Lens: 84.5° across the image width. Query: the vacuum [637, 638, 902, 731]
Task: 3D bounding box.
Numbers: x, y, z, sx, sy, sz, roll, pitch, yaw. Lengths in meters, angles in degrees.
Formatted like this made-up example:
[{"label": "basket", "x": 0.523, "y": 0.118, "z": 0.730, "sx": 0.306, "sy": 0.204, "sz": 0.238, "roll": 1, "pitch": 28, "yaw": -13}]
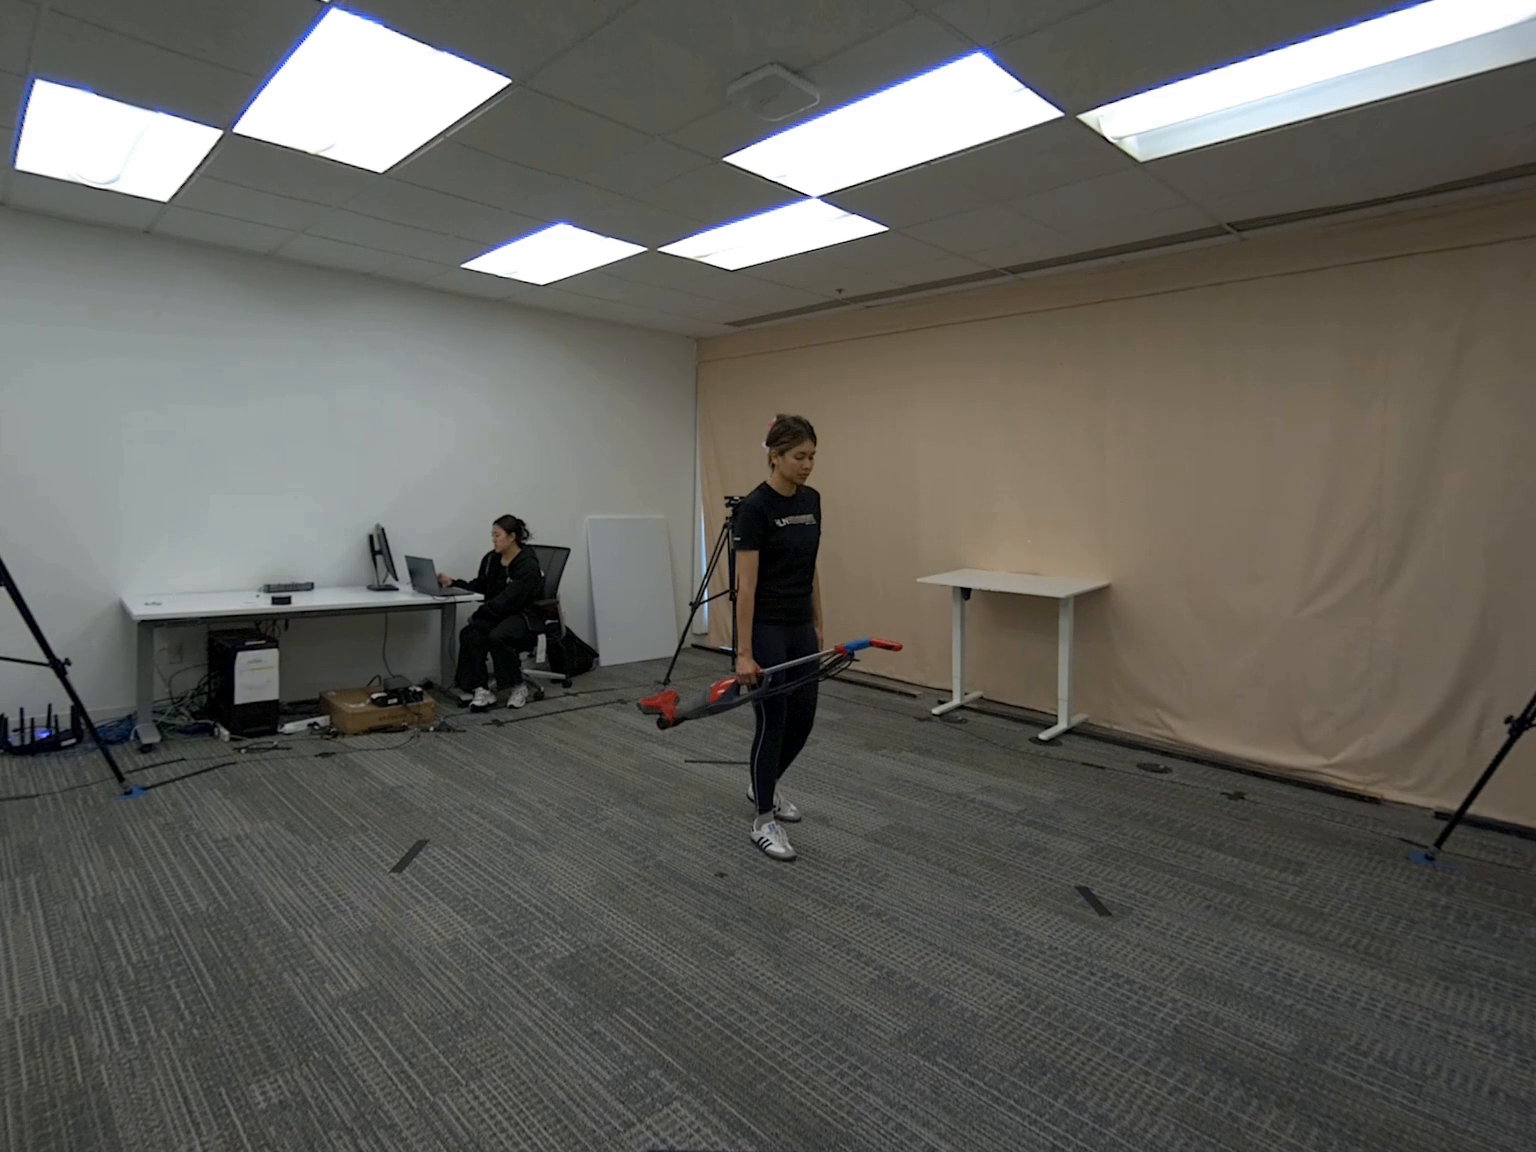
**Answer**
[{"label": "vacuum", "x": 0.006, "y": 0.394, "z": 3.096, "sx": 1.062, "sy": 0.145, "sz": 0.247, "roll": -20, "pitch": -8, "yaw": 30}]
